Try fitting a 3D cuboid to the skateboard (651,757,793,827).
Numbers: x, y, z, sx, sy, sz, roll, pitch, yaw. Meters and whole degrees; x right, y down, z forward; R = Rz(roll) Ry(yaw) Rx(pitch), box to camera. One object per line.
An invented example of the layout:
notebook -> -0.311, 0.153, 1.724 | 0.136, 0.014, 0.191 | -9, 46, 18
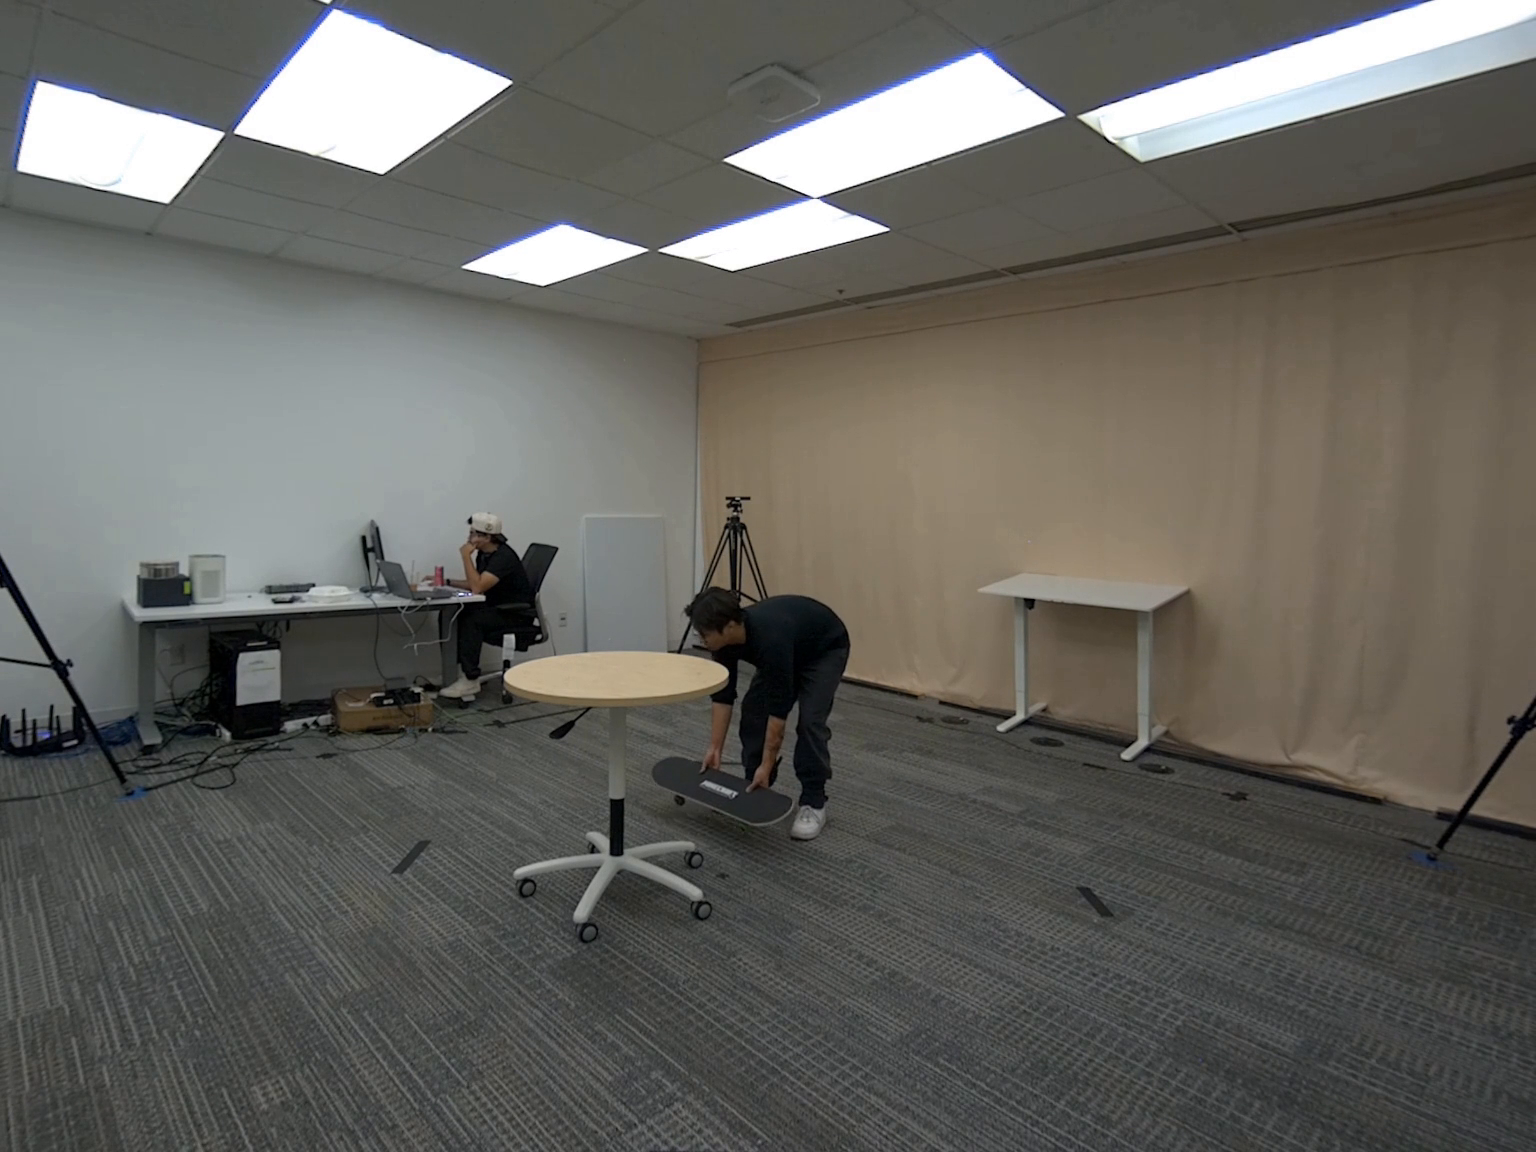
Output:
skateboard -> -0.218, 0.925, 3.516 | 0.806, 0.108, 0.192 | 6, 32, 45
